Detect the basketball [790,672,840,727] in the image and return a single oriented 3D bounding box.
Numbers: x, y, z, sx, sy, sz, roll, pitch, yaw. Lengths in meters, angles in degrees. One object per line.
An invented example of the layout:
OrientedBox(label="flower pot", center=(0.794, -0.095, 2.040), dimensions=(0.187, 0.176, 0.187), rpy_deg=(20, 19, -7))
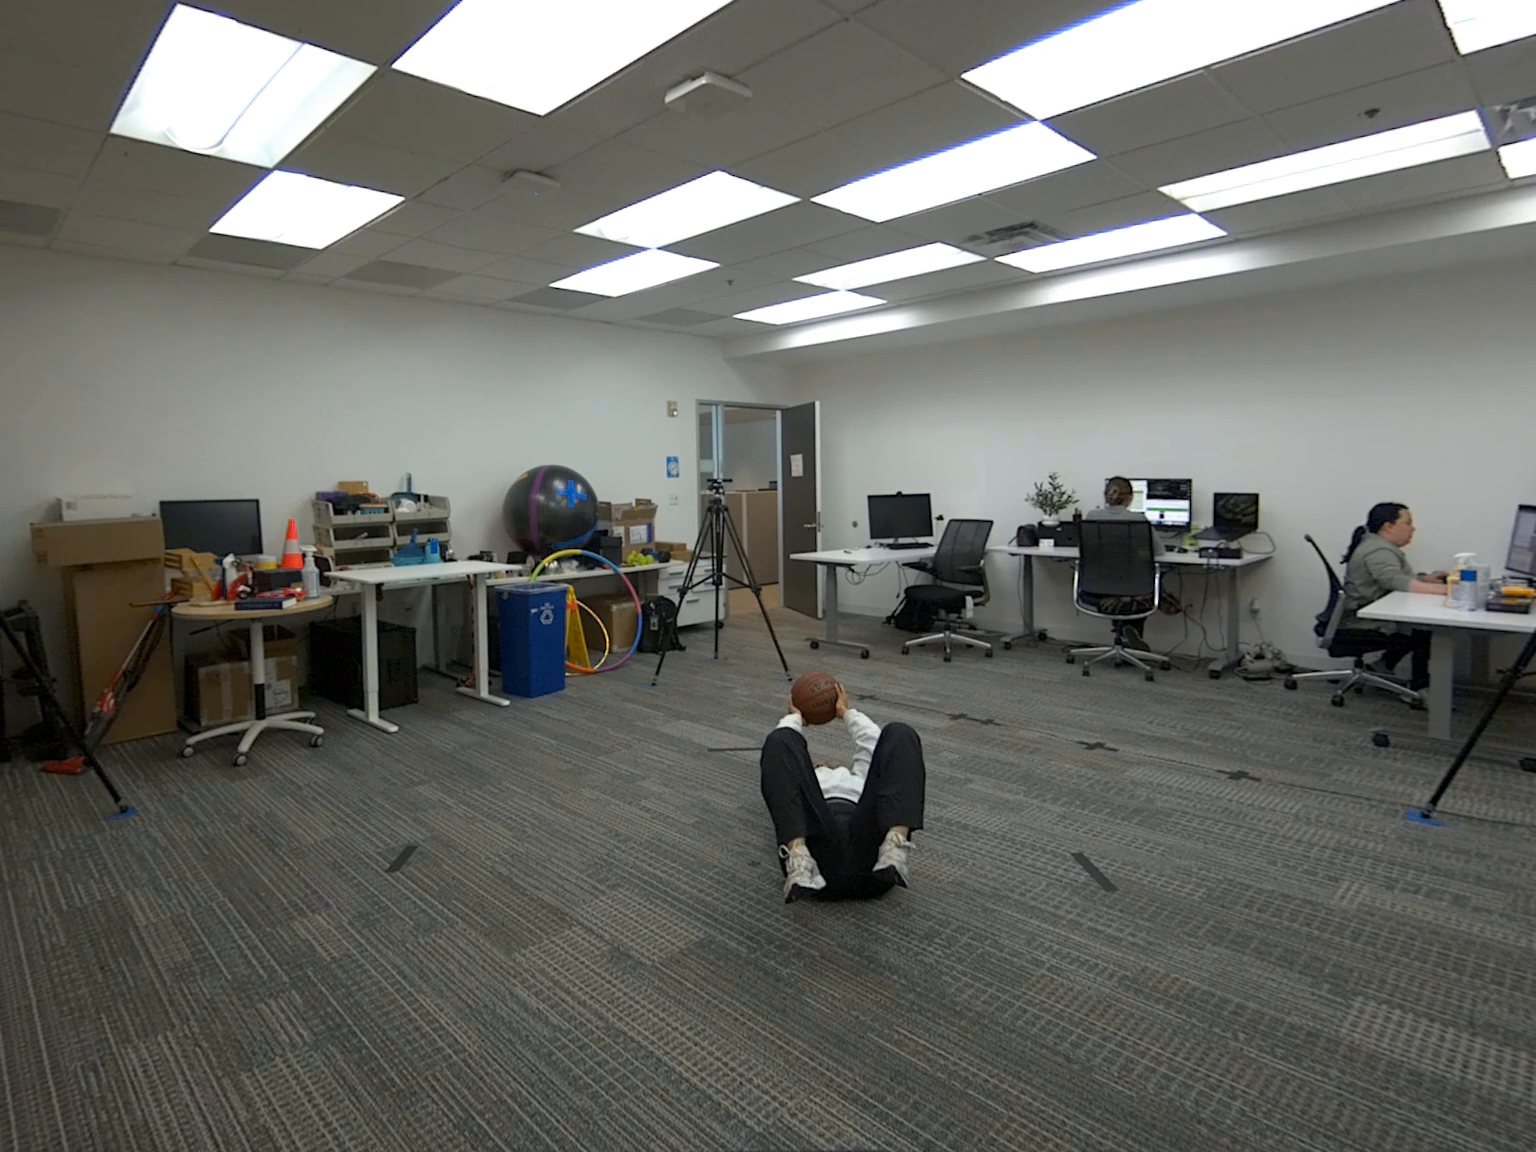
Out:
OrientedBox(label="basketball", center=(0.222, 0.550, 3.846), dimensions=(0.236, 0.235, 0.237), rpy_deg=(-1, 5, -2))
